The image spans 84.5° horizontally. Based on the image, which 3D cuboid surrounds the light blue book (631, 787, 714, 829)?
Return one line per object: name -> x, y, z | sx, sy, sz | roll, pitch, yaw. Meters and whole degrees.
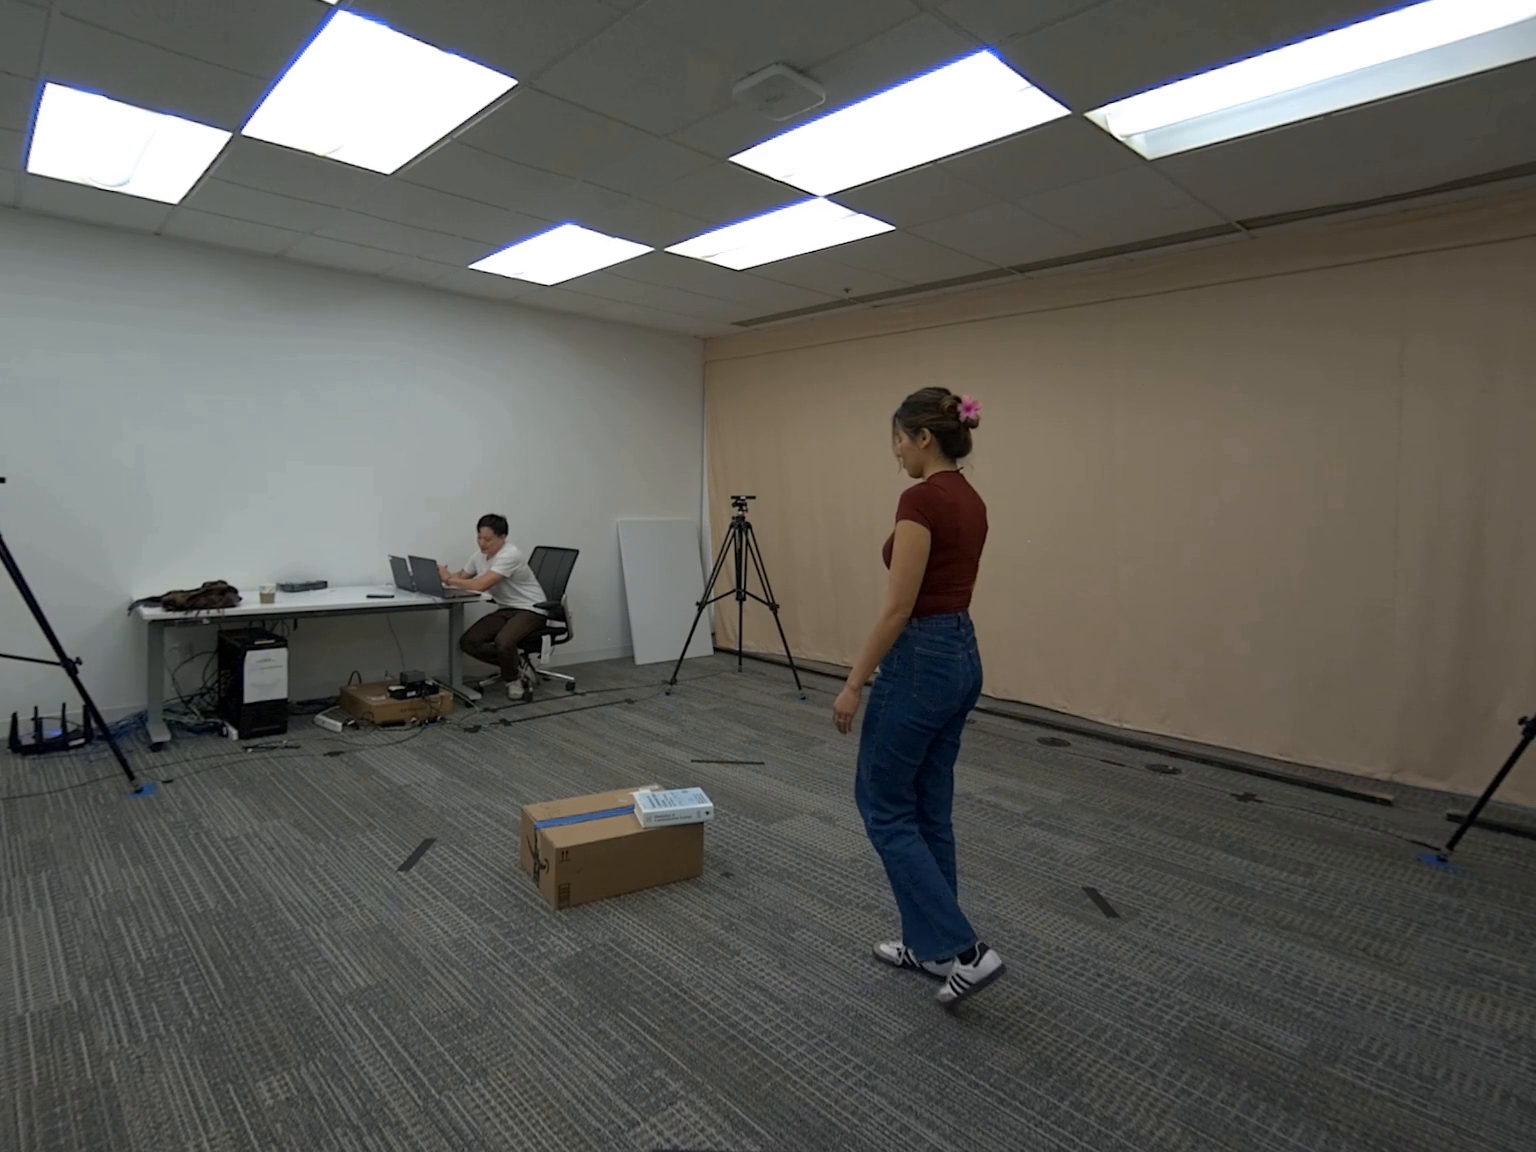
light blue book -> -0.356, 0.843, 3.098 | 0.257, 0.059, 0.195 | -1, 6, -19
